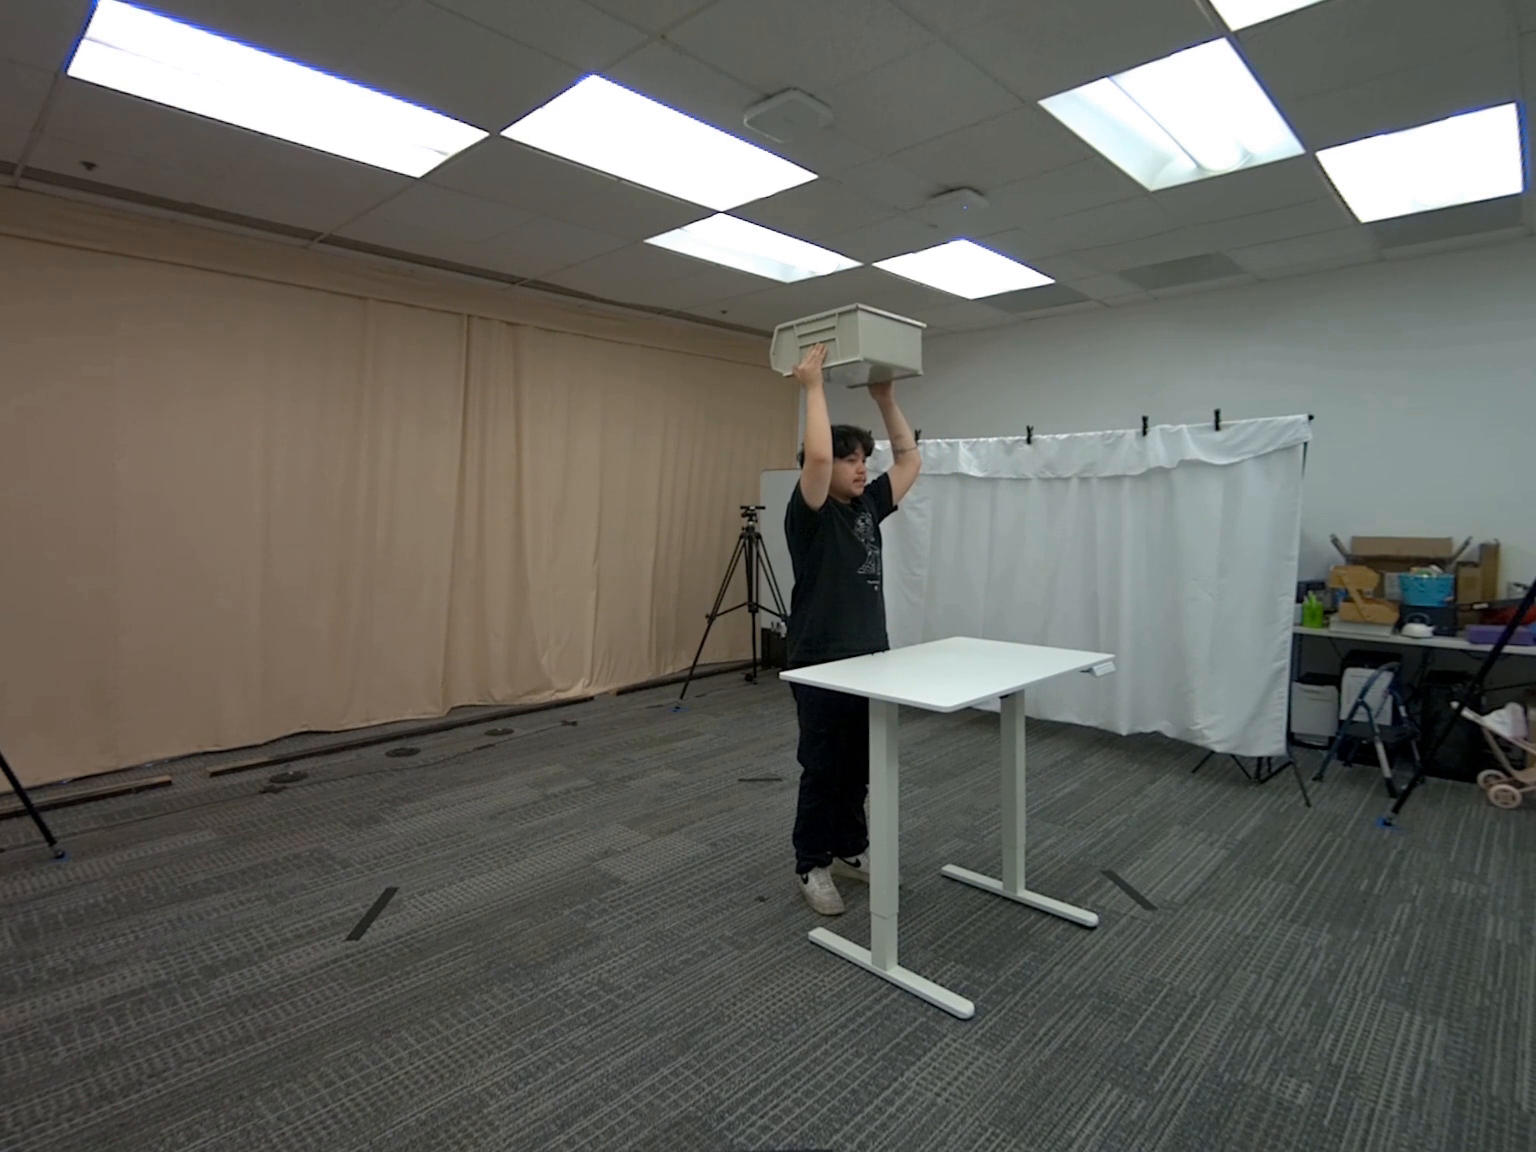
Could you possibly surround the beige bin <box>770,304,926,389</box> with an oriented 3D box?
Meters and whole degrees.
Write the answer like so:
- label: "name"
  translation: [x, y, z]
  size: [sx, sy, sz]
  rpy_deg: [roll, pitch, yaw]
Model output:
- label: "beige bin"
  translation: [0.288, -0.790, 2.964]
  size: [0.389, 0.189, 0.409]
  rpy_deg: [0, 2, 42]
